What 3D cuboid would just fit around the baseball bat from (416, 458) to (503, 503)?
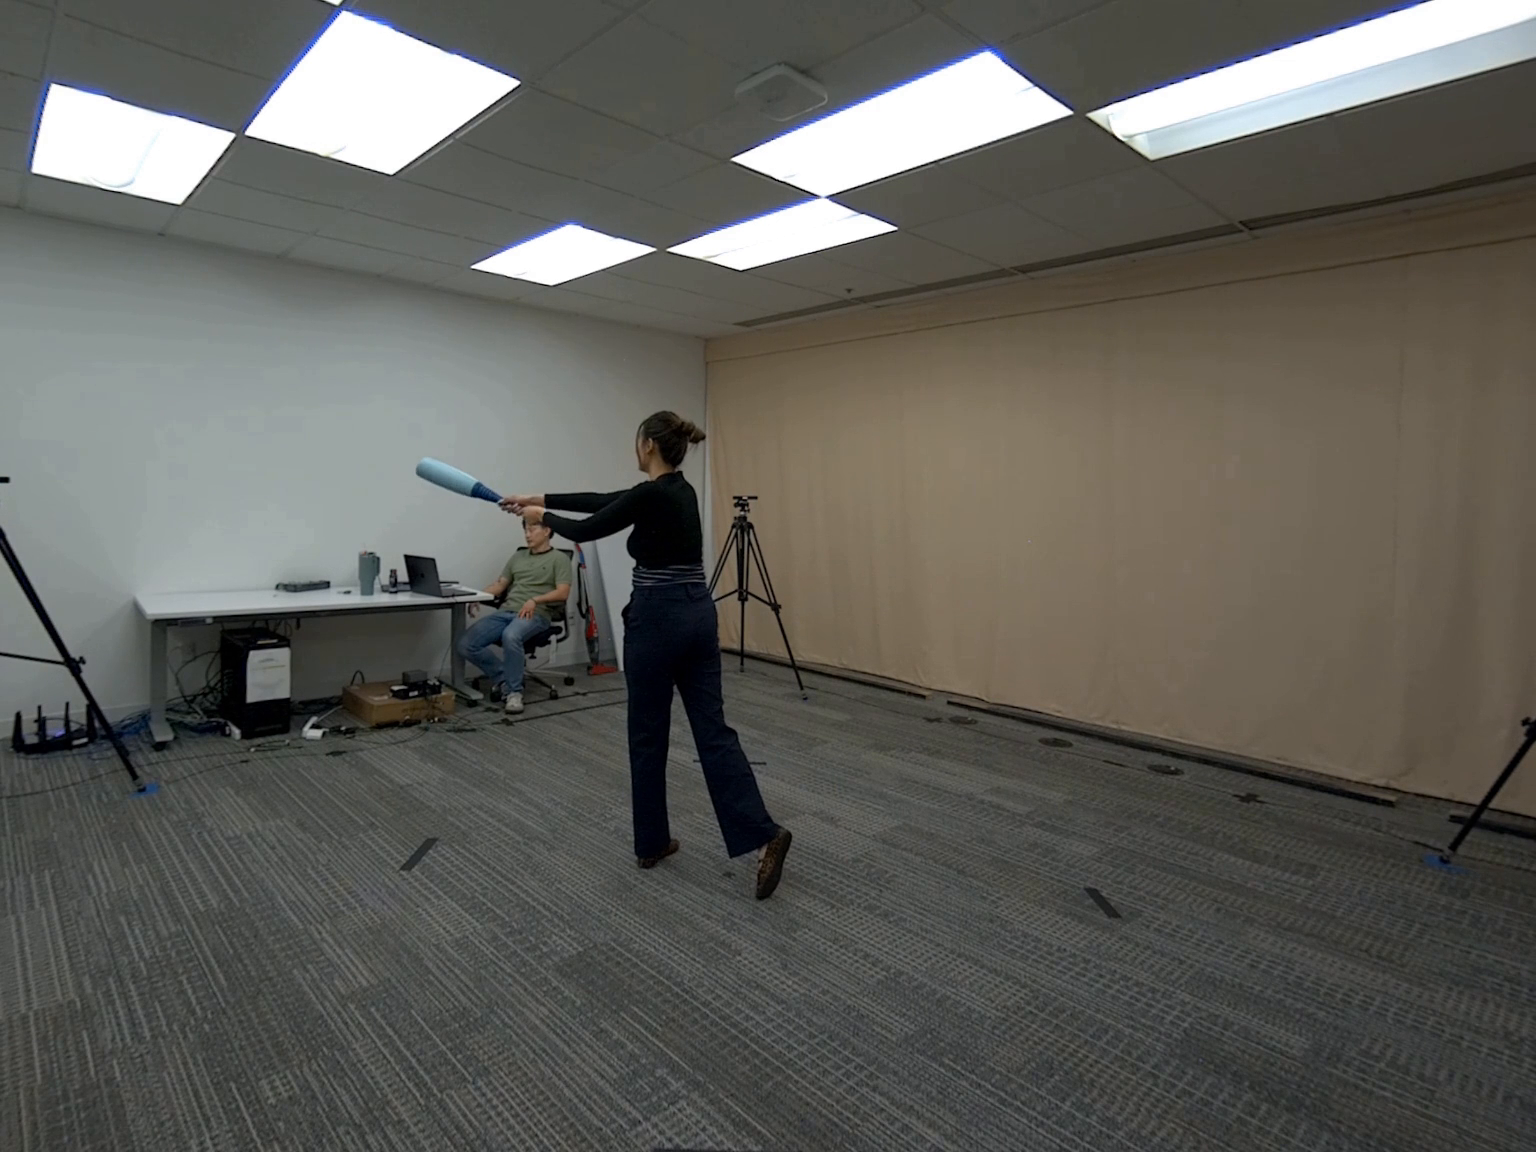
[{"bbox_3d":[-1.136,-0.327,3.327,0.547,0.089,0.088,24,6,6],"label":"baseball bat"}]
